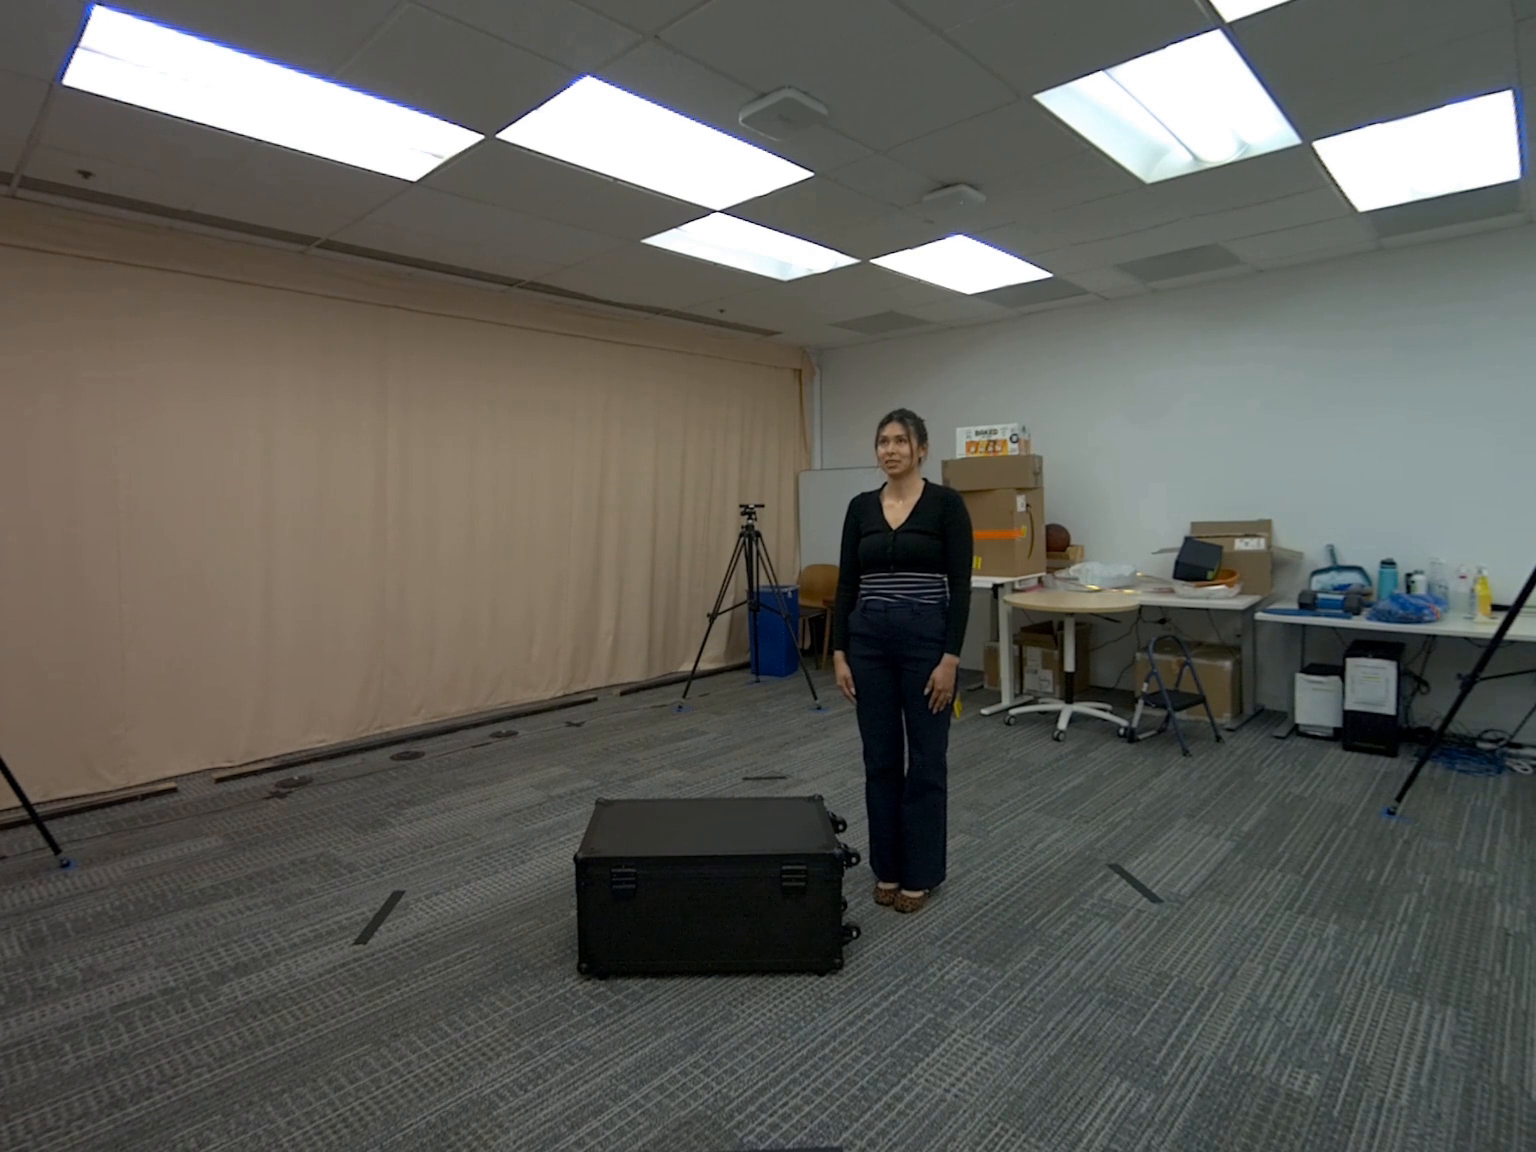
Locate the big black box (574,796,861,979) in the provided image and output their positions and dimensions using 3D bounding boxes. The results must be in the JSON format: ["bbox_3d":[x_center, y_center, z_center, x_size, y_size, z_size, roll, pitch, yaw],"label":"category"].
[{"bbox_3d":[-0.150,0.974,2.692,0.861,0.395,0.523,-1,4,-1],"label":"big black box"}]
